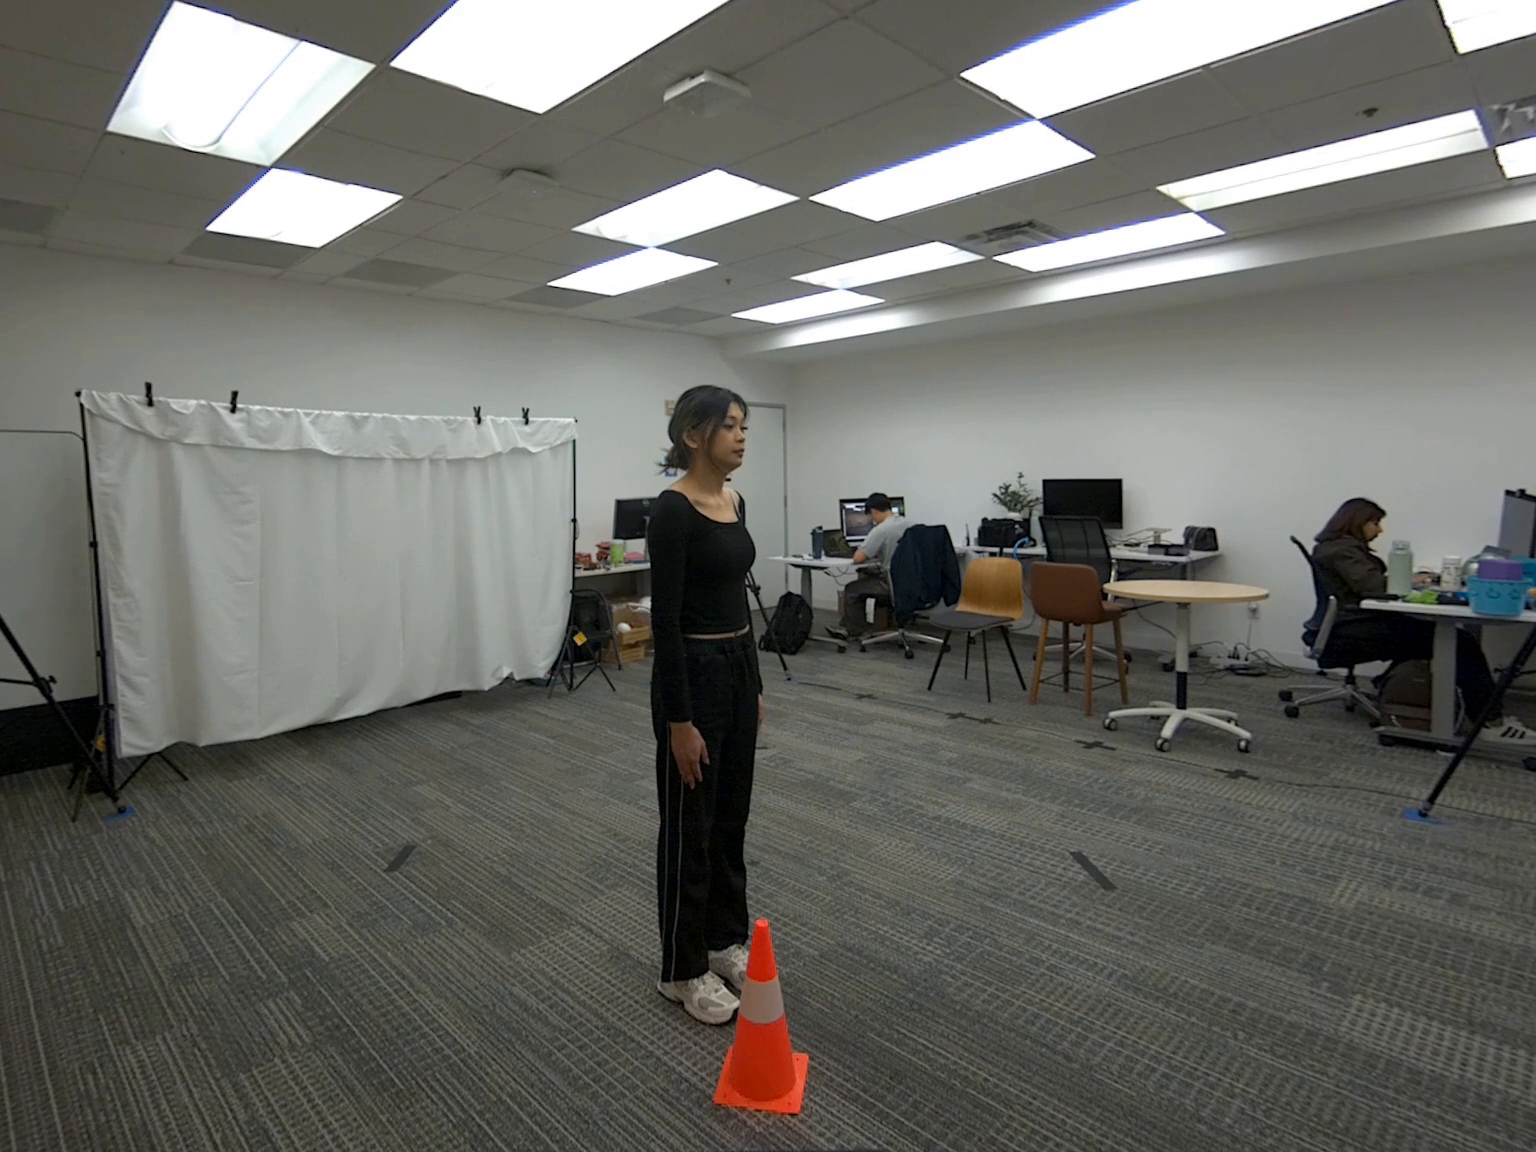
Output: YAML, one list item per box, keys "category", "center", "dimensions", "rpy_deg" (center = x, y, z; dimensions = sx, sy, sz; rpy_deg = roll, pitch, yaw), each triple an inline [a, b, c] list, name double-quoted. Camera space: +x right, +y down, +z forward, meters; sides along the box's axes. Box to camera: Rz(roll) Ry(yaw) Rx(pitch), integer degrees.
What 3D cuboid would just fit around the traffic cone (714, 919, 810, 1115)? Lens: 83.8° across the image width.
- category: "traffic cone"
  center: [-0.010, 0.989, 1.978]
  dimensions: [0.205, 0.383, 0.204]
  rpy_deg: [-3, 3, 9]
